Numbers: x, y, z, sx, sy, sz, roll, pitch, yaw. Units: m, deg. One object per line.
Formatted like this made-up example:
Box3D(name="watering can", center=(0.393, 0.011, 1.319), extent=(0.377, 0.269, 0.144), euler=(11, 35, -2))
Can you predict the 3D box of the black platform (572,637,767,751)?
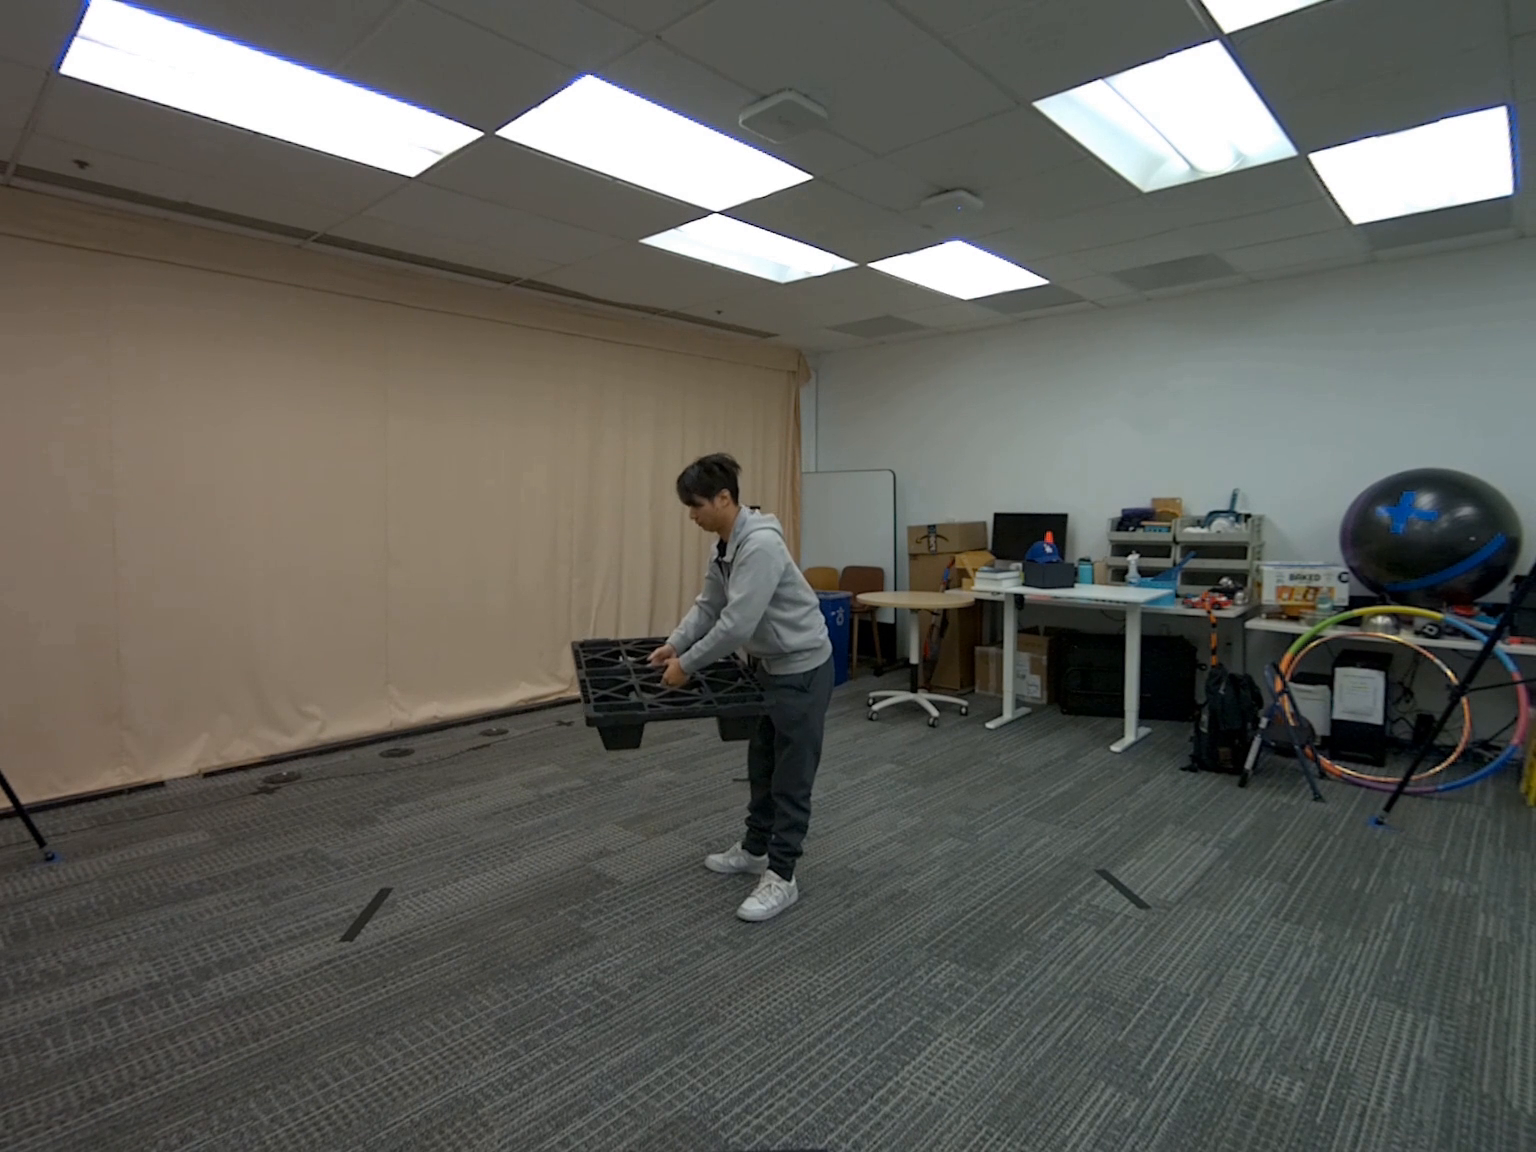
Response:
Box3D(name="black platform", center=(-0.374, 0.389, 2.963), extent=(0.596, 0.142, 0.823), euler=(-2, 12, -15))
